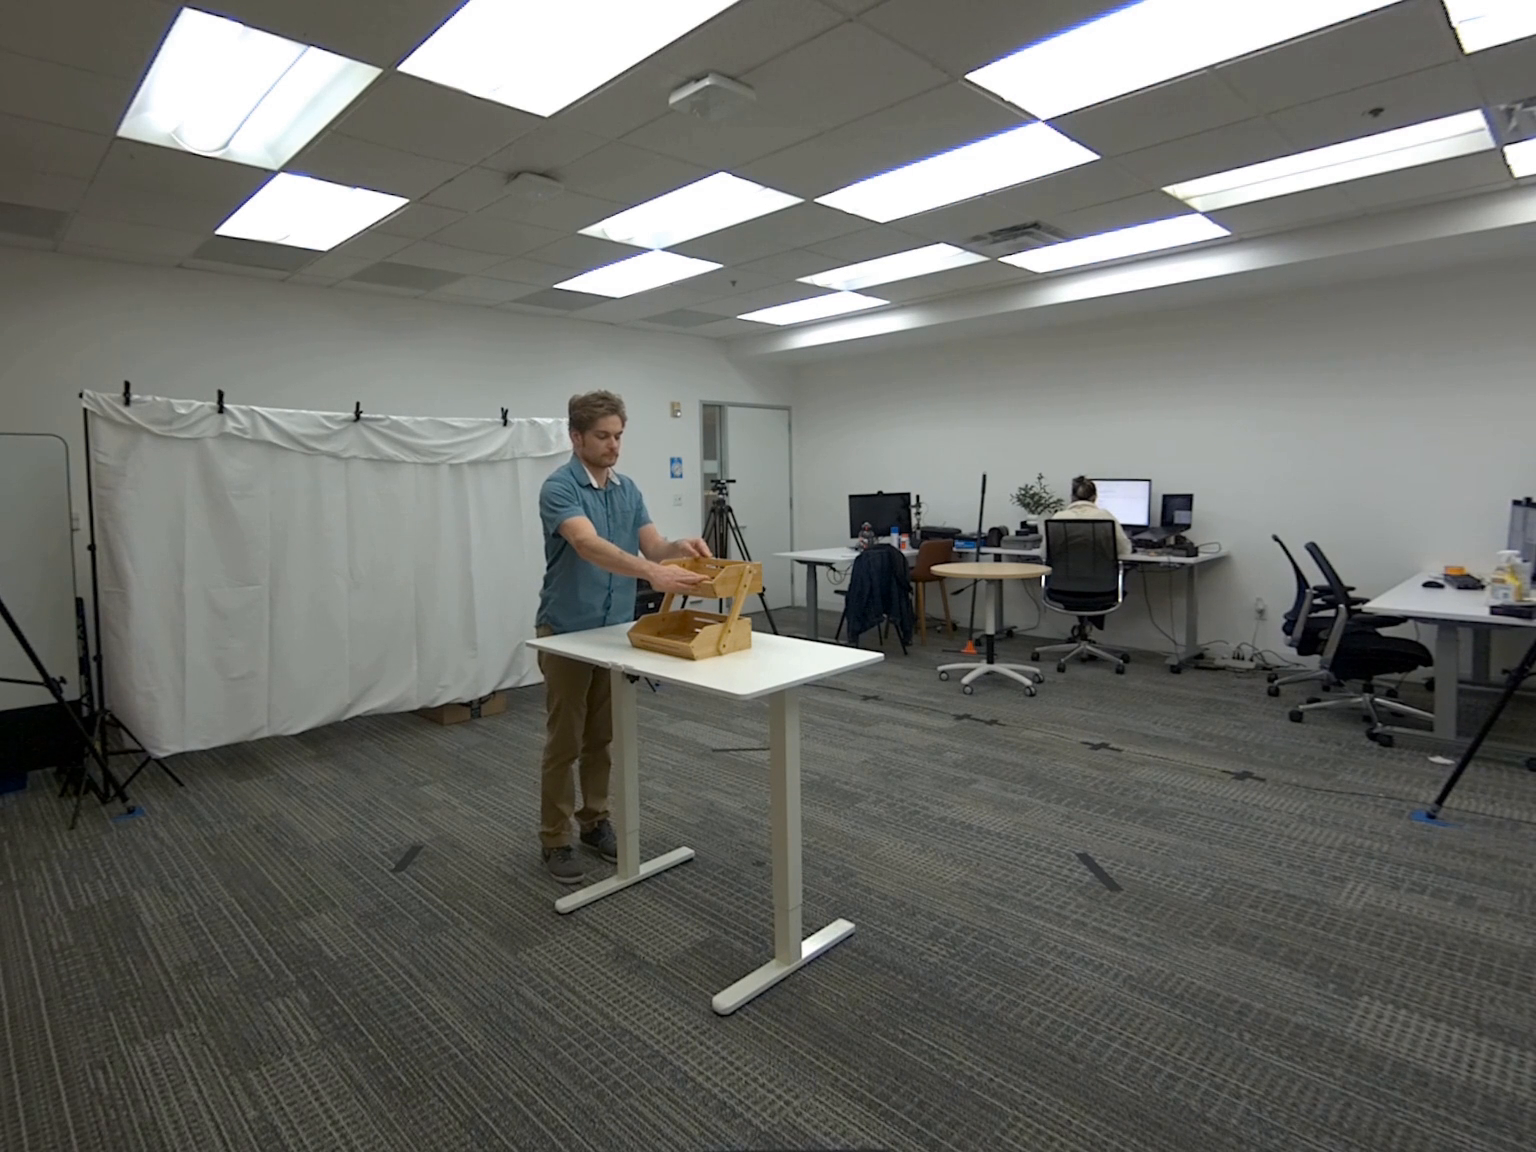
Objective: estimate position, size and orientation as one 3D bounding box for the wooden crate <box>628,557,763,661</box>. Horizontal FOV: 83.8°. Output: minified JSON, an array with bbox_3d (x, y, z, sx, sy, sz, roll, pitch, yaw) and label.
[{"bbox_3d":[-0.225,0.089,2.649,0.334,0.272,0.294,5,8,44],"label":"wooden crate"}]
